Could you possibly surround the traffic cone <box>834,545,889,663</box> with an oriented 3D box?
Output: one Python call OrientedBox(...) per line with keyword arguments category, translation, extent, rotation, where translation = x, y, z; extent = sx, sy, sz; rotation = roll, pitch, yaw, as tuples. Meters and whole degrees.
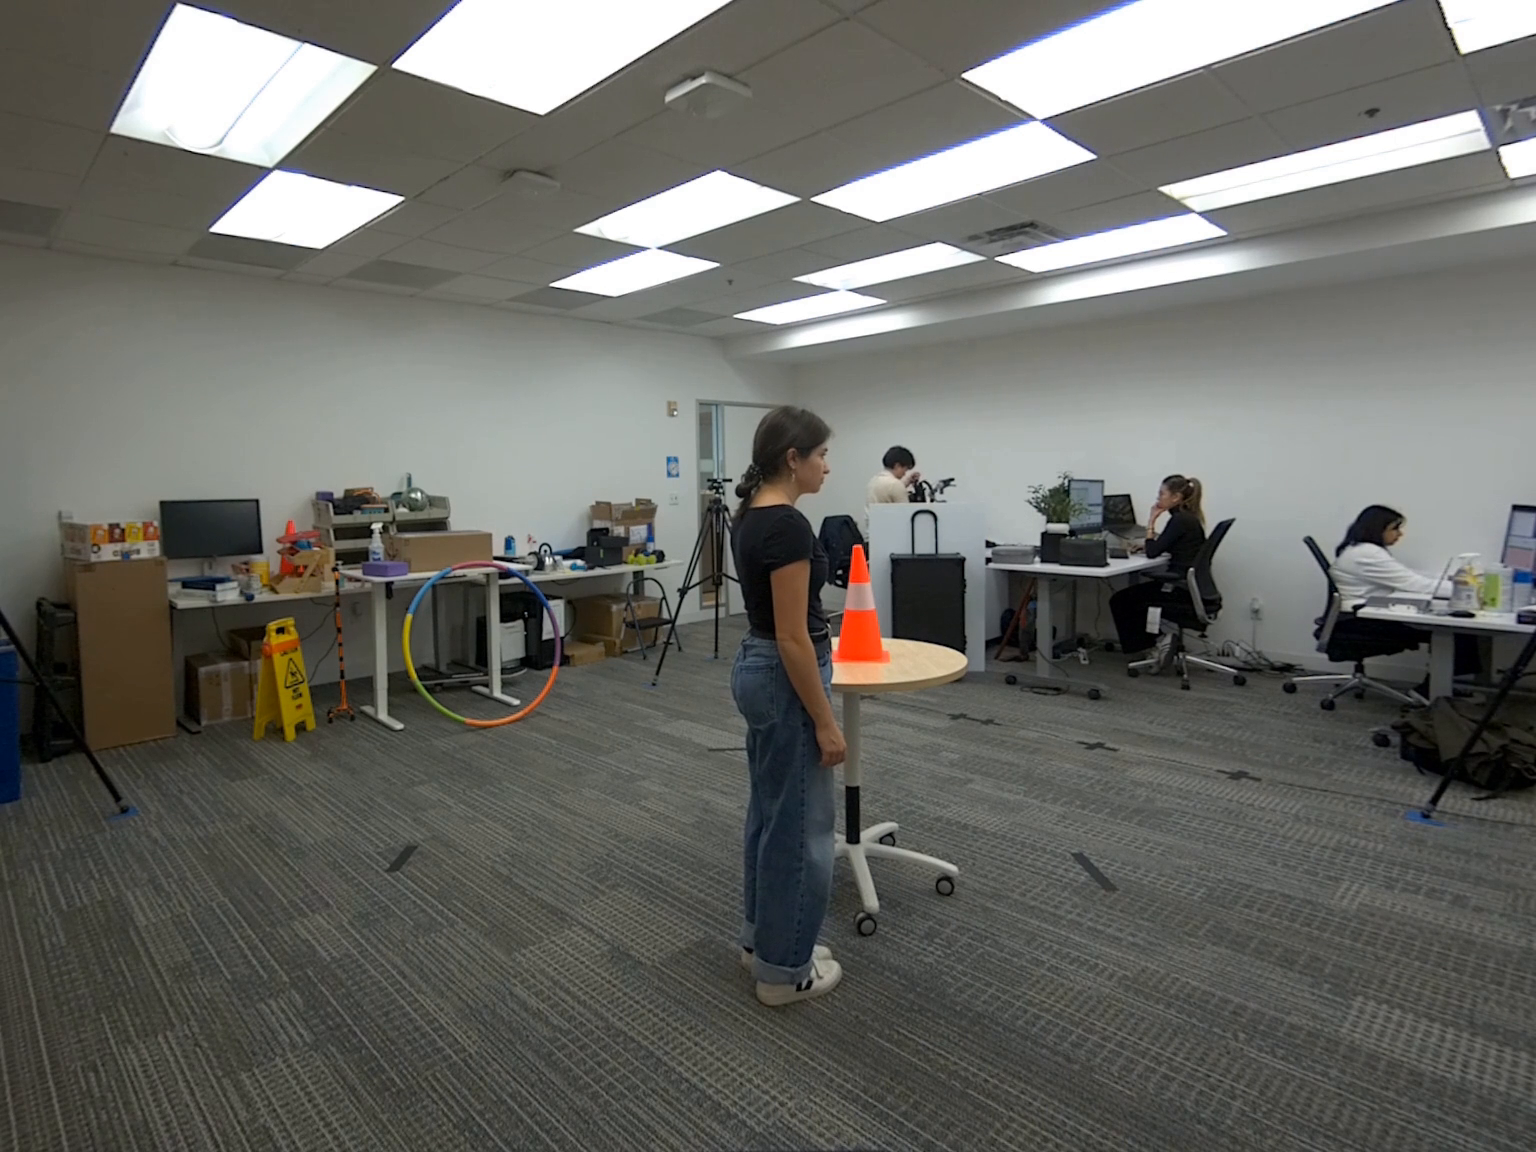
OrientedBox(category="traffic cone", translation=(0.315, 0.092, 2.914), extent=(0.204, 0.382, 0.205), rotation=(-1, 5, 3))
